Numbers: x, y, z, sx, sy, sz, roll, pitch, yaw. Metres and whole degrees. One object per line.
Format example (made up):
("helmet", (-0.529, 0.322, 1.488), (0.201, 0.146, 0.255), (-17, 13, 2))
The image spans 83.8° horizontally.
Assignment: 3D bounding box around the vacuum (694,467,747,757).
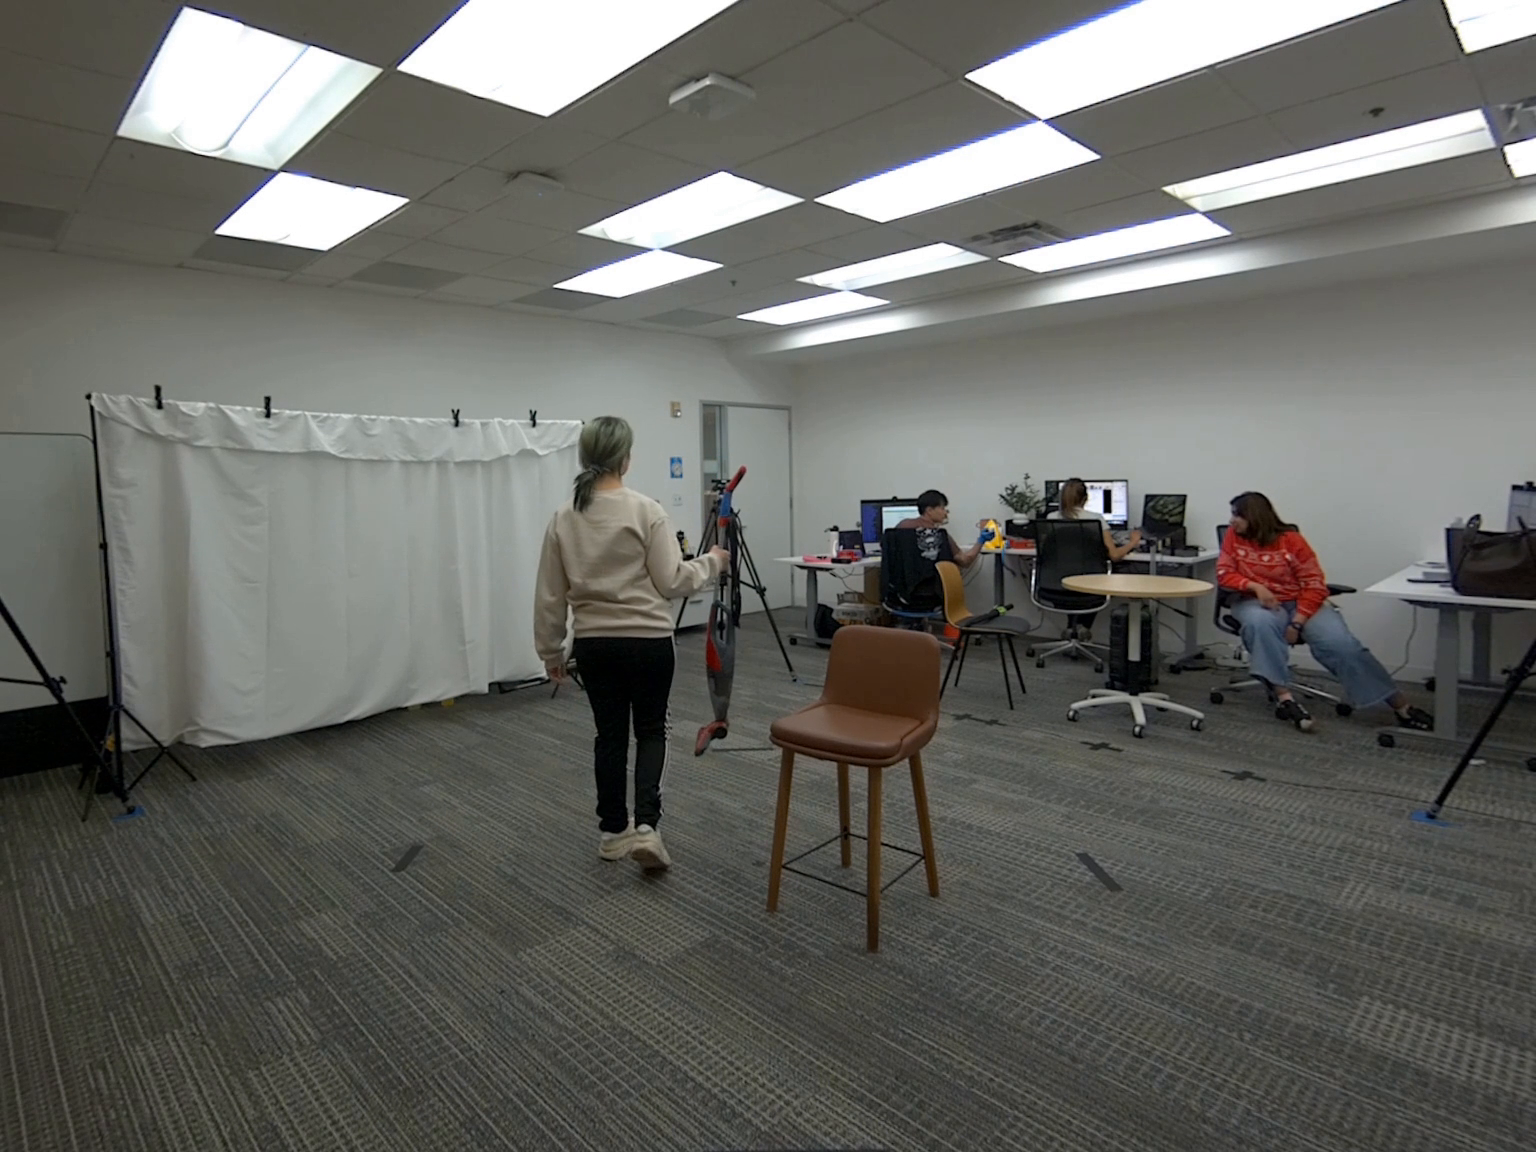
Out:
("vacuum", (-0.154, 0.109, 3.281), (0.142, 1.045, 0.257), (6, 5, -15))
